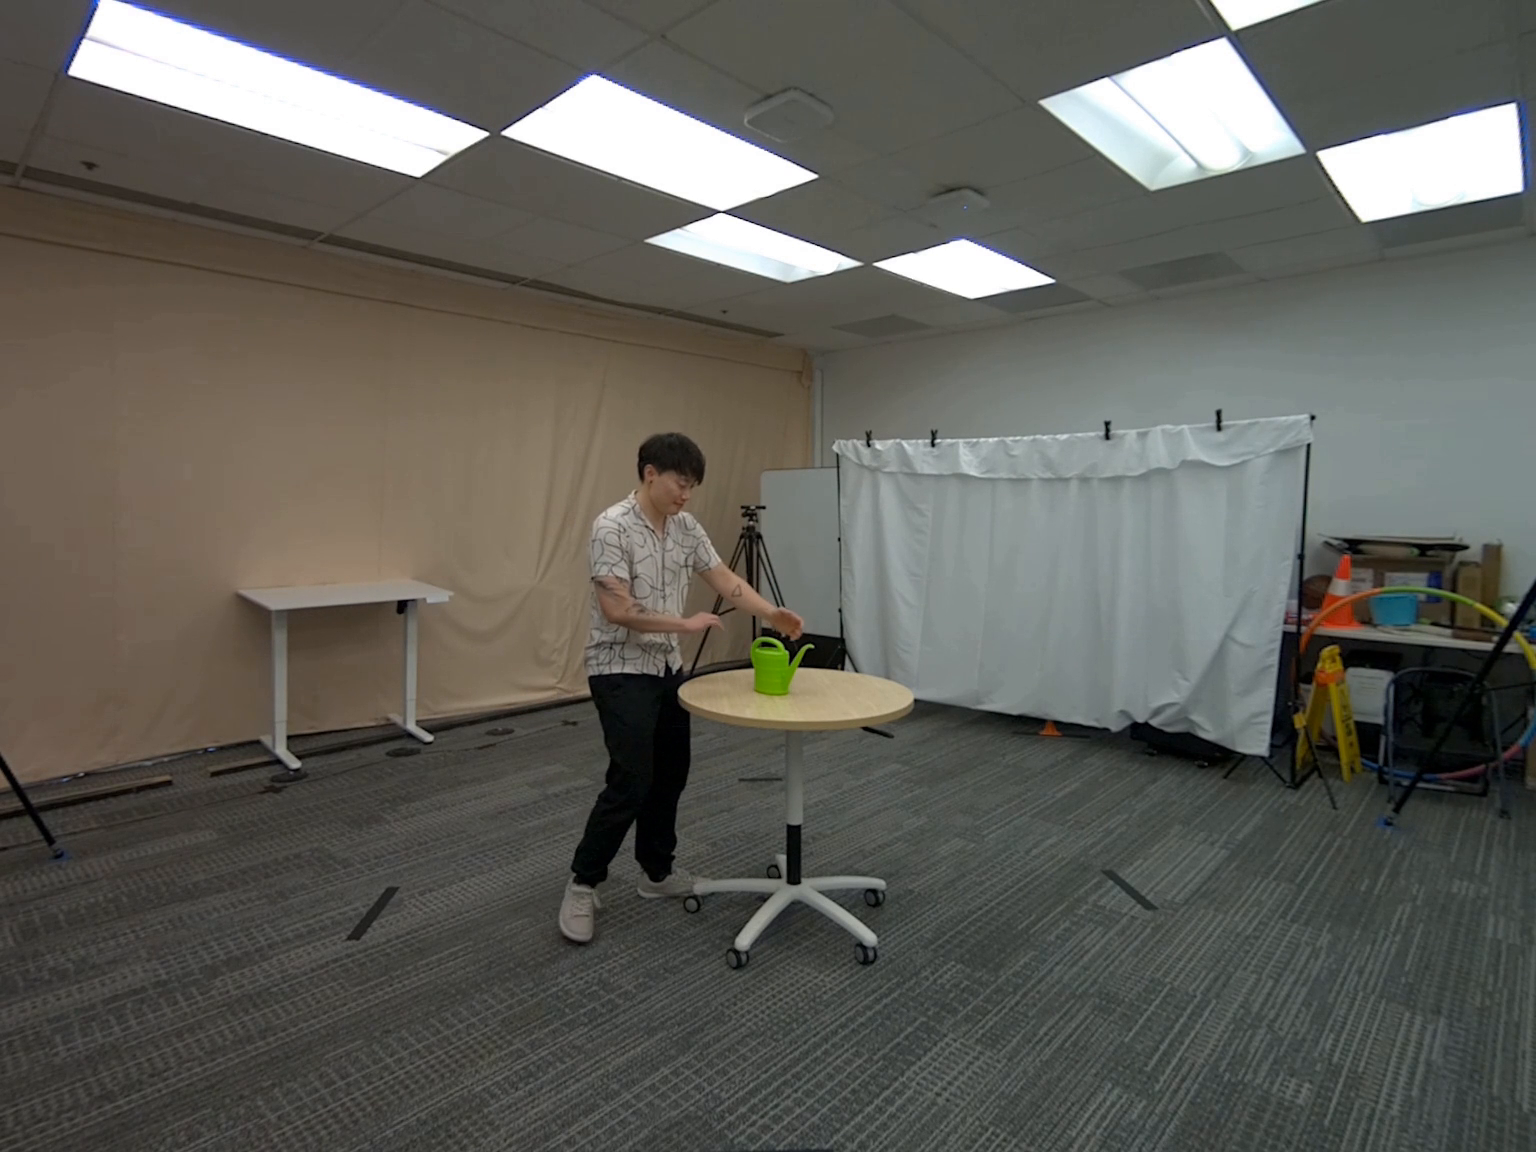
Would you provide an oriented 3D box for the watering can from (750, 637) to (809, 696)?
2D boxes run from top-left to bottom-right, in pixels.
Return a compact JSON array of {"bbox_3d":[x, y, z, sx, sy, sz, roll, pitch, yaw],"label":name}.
[{"bbox_3d":[0.040,0.297,2.706,0.095,0.176,0.286,-3,4,-28],"label":"watering can"}]
